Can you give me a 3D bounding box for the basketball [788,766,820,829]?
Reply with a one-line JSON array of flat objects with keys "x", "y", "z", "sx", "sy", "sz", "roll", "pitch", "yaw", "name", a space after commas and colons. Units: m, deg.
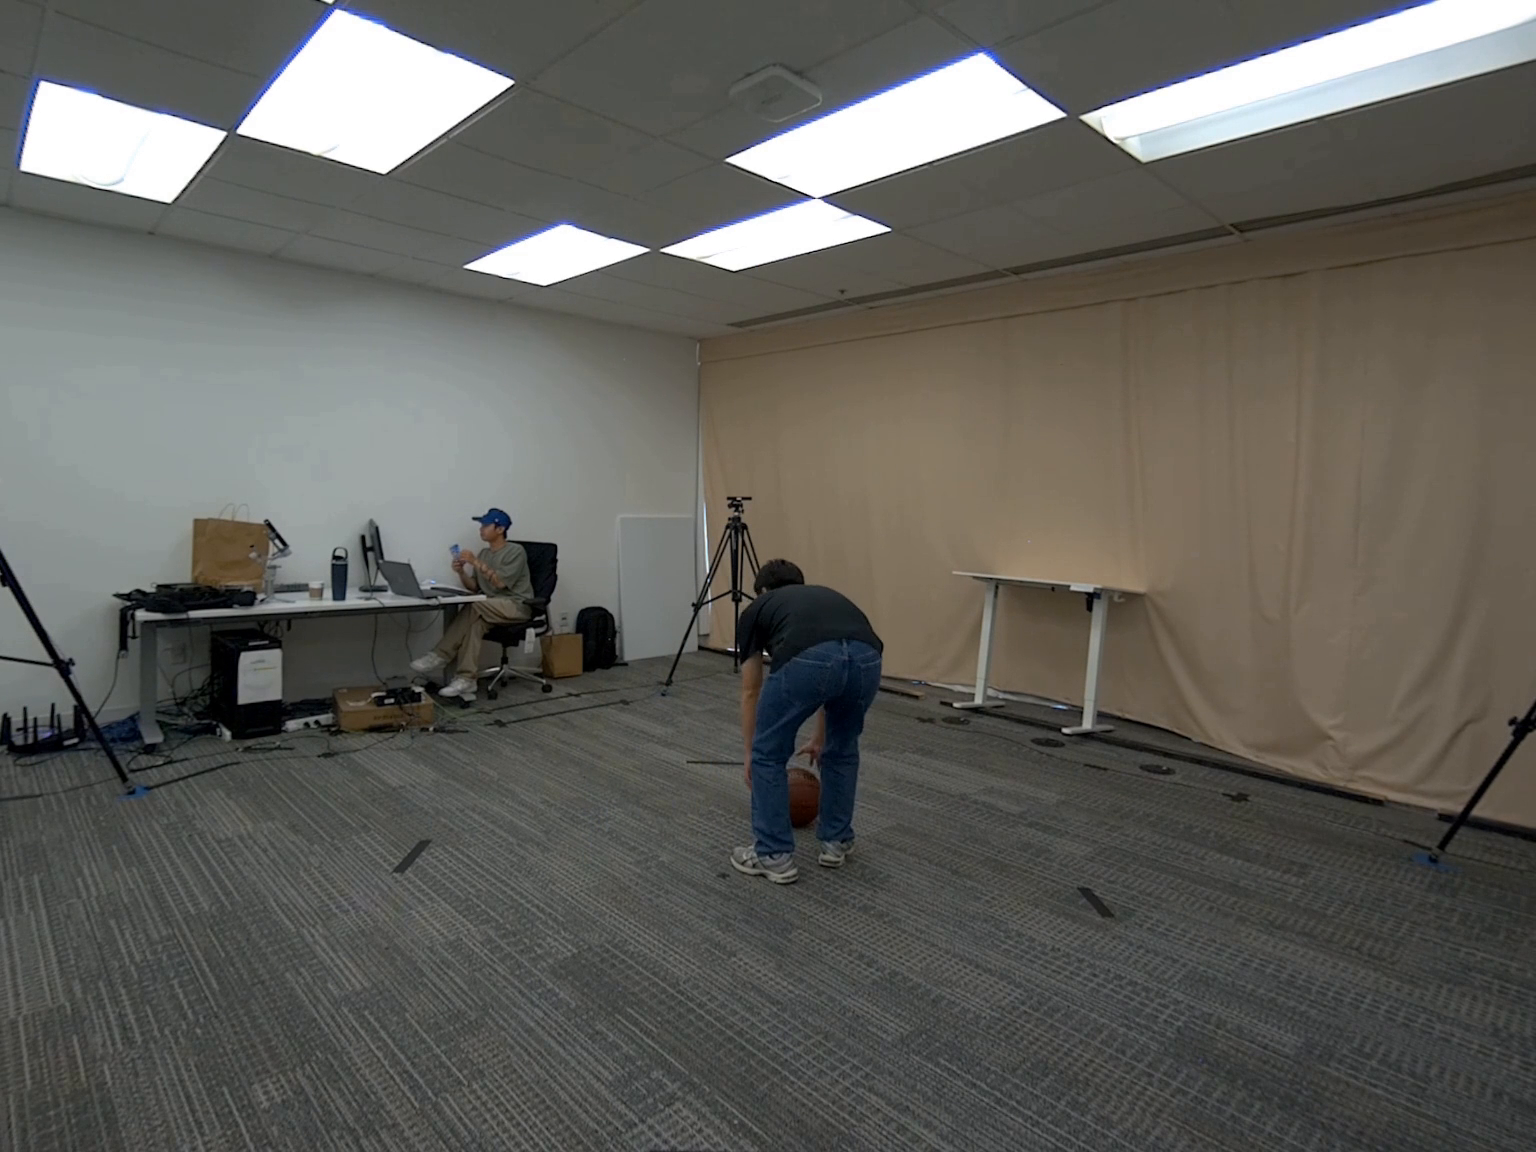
[{"x": 0.118, "y": 0.951, "z": 3.628, "sx": 0.236, "sy": 0.235, "sz": 0.237, "roll": 1, "pitch": 4, "yaw": -1, "name": "basketball"}]
